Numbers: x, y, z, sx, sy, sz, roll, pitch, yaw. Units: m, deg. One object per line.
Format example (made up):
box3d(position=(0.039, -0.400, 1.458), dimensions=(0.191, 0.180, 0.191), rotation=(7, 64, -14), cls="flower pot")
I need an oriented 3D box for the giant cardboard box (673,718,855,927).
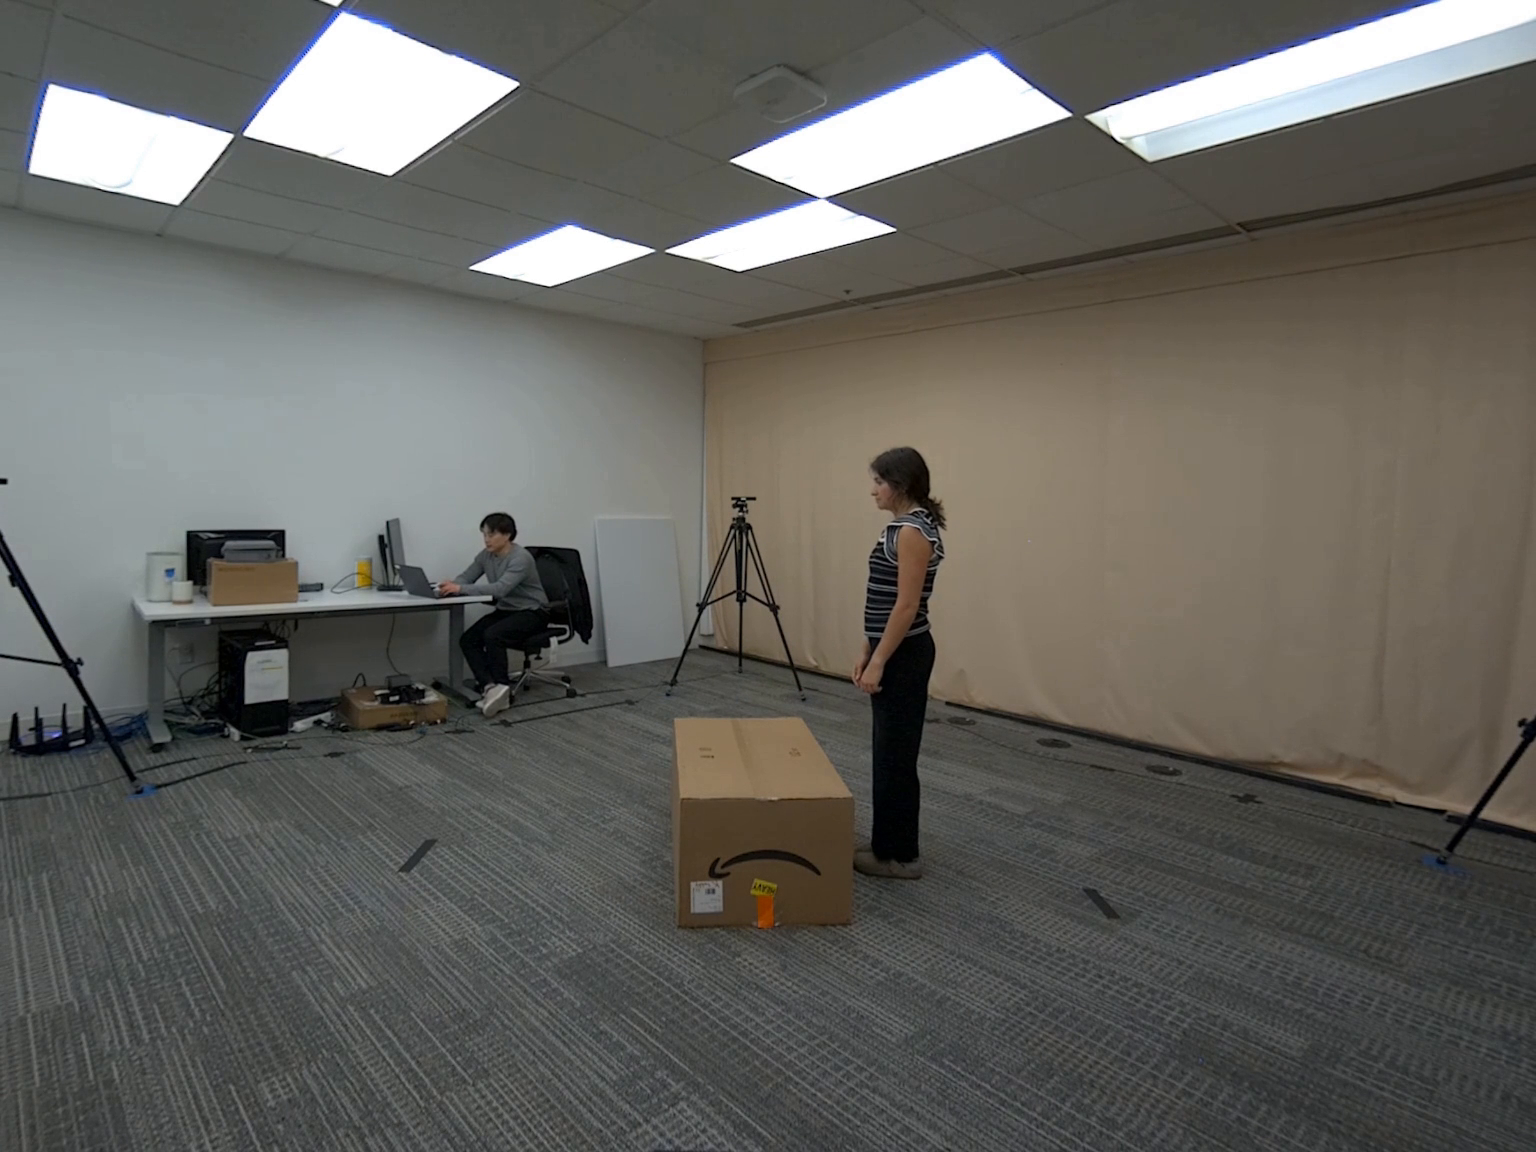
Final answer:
box3d(position=(-0.077, 0.886, 3.232), dimensions=(0.575, 0.425, 1.034), rotation=(1, 5, -7), cls="giant cardboard box")
